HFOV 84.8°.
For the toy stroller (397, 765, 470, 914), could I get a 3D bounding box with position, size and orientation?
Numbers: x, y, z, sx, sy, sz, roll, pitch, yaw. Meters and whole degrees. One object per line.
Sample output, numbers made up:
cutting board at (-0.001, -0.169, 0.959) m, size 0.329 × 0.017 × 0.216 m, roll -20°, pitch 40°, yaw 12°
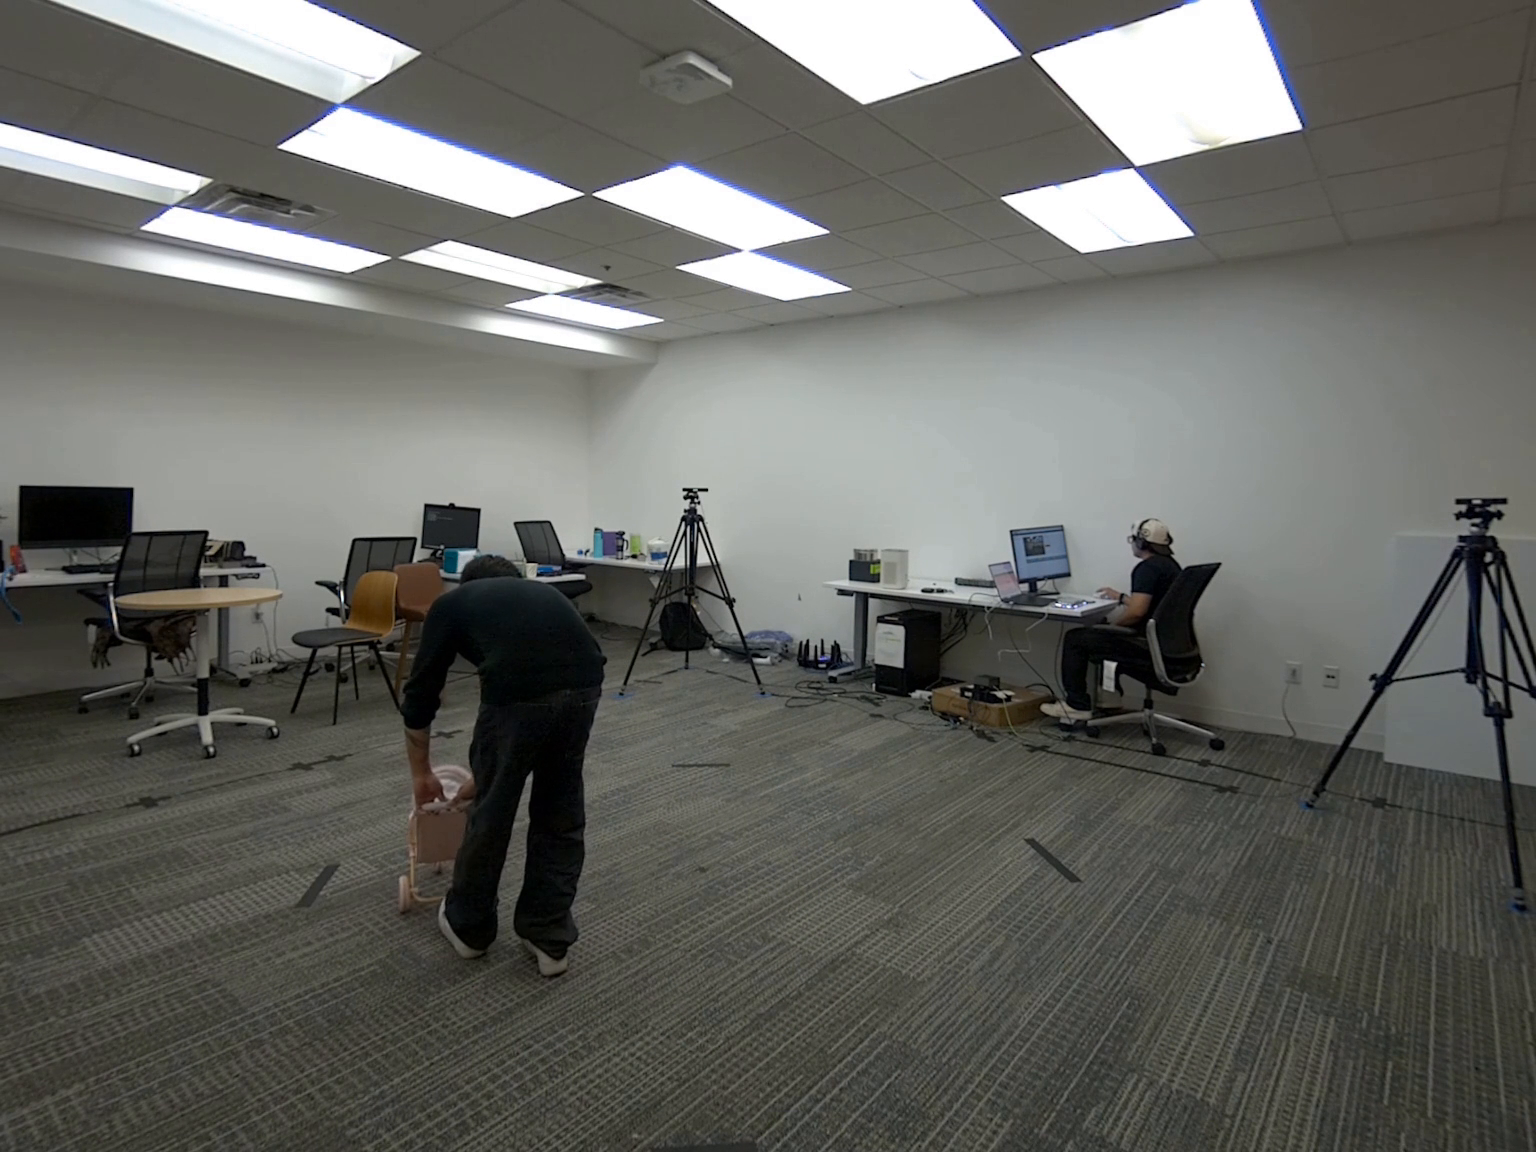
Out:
toy stroller at (-1.101, 0.861, 2.860) m, size 0.276 × 0.526 × 0.354 m, roll 1°, pitch 23°, yaw -20°
